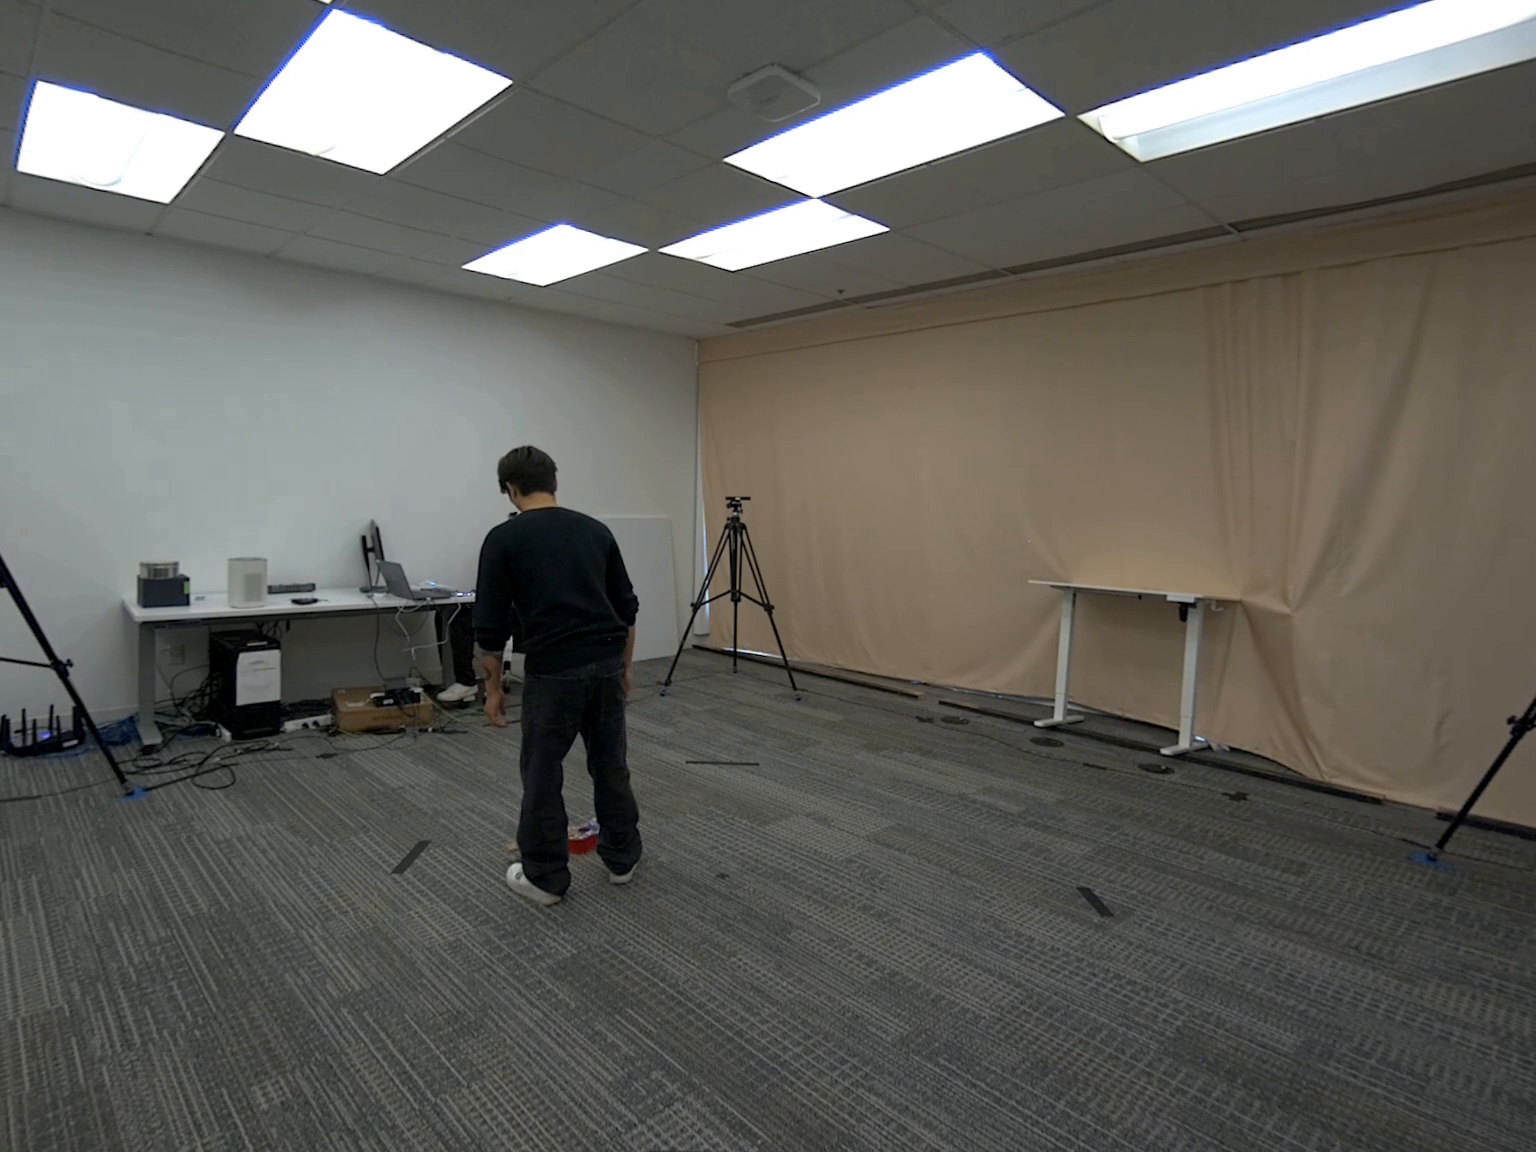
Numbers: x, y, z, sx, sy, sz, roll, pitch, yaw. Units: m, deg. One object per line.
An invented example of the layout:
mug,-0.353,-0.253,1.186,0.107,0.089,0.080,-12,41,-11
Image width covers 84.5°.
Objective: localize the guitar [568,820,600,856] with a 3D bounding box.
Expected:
guitar,-0.813,1.042,3.331,0.488,0.070,0.197,-1,5,-29
